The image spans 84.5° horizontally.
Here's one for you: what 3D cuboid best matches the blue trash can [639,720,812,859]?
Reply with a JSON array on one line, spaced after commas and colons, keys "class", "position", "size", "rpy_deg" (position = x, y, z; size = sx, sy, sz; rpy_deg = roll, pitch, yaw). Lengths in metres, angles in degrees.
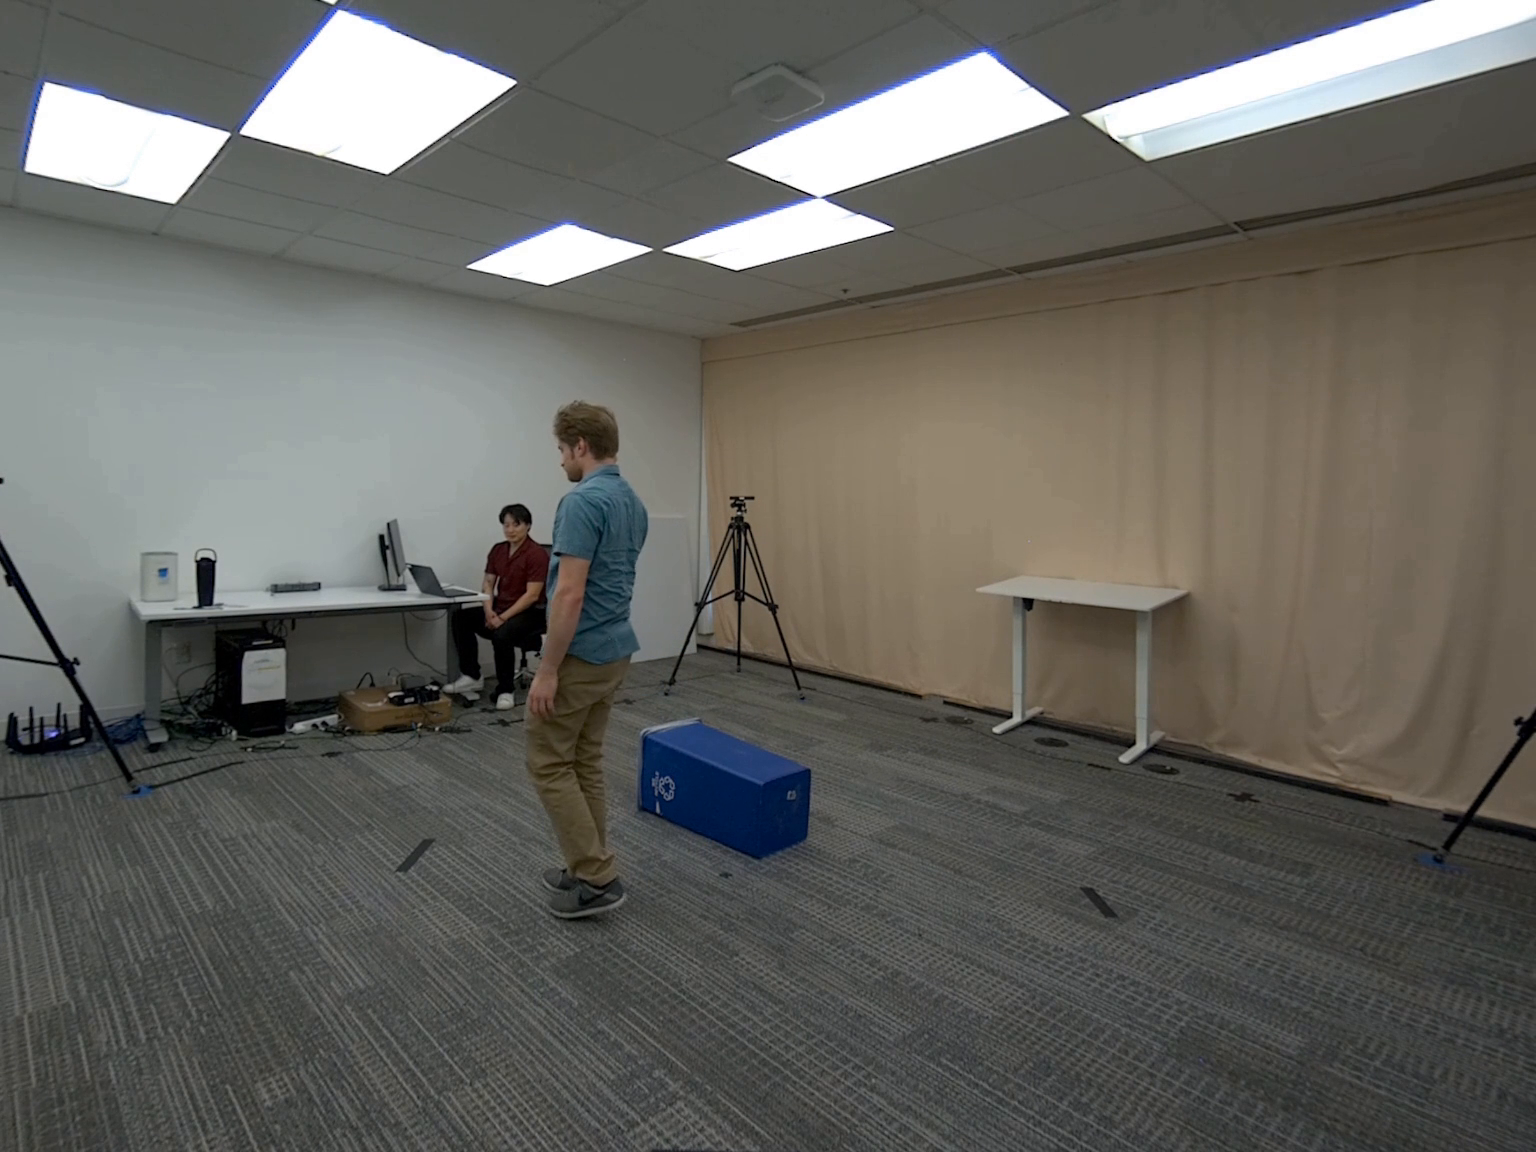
[{"class": "blue trash can", "position": [-0.194, 0.898, 3.585], "size": [0.733, 0.376, 0.365], "rpy_deg": [10, 8, 43]}]
